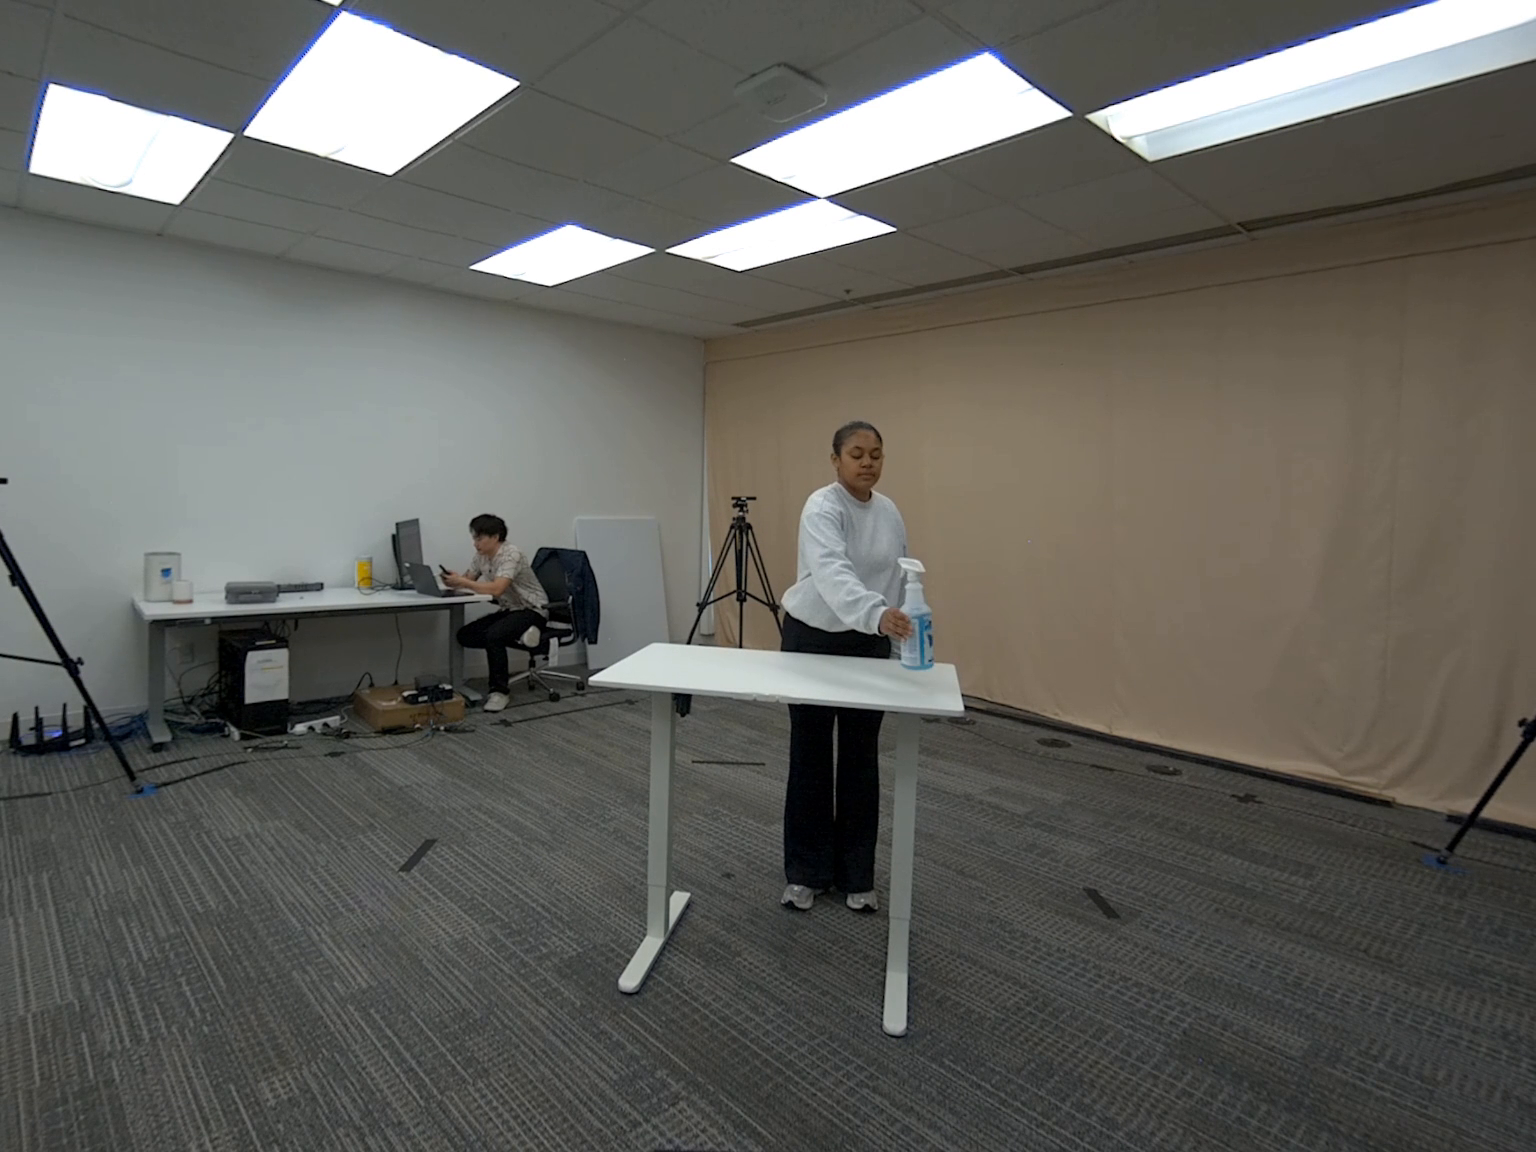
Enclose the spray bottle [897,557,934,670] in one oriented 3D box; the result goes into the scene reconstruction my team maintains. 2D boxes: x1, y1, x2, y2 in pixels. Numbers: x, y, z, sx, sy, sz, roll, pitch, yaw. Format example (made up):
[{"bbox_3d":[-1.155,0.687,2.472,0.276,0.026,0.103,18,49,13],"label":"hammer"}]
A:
[{"bbox_3d":[0.380,0.098,2.266,0.086,0.296,0.091,-3,6,-9],"label":"spray bottle"}]
